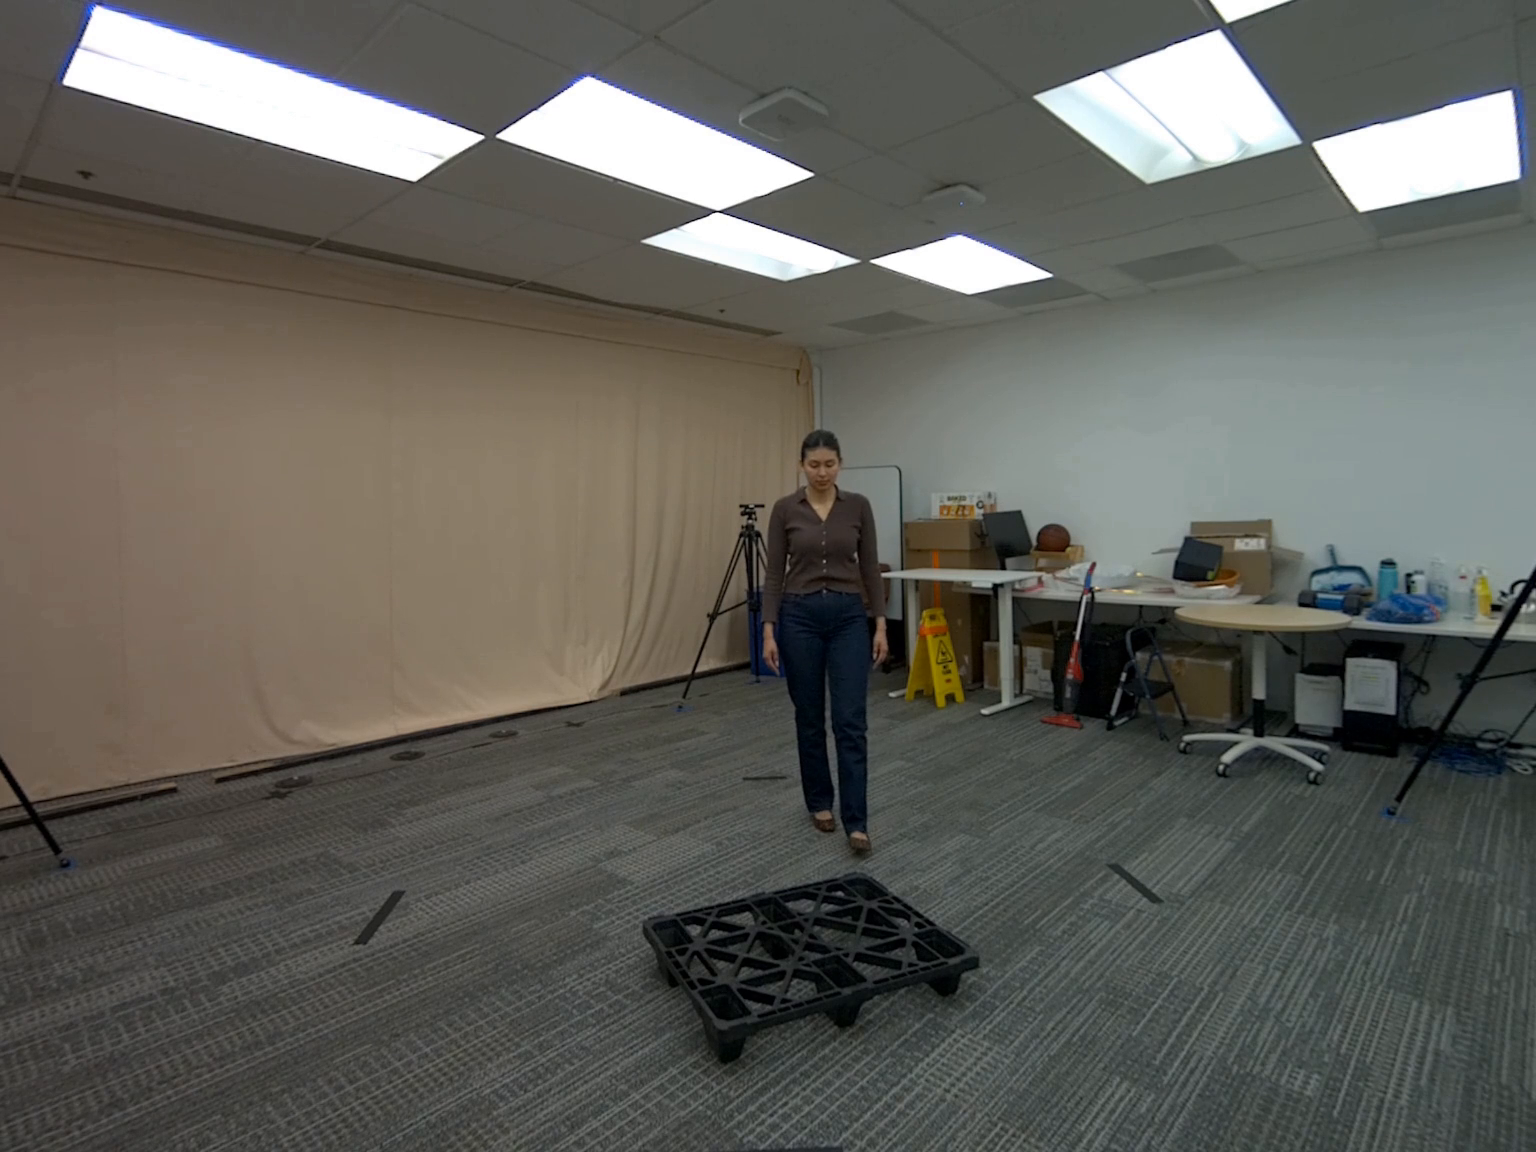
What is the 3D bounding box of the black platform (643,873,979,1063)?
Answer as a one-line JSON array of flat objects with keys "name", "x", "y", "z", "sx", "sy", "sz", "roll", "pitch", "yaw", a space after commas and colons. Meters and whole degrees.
[{"name": "black platform", "x": 0.101, "y": 1.117, "z": 2.454, "sx": 0.787, "sy": 0.143, "sz": 0.621, "roll": -3, "pitch": 5, "yaw": -25}]
